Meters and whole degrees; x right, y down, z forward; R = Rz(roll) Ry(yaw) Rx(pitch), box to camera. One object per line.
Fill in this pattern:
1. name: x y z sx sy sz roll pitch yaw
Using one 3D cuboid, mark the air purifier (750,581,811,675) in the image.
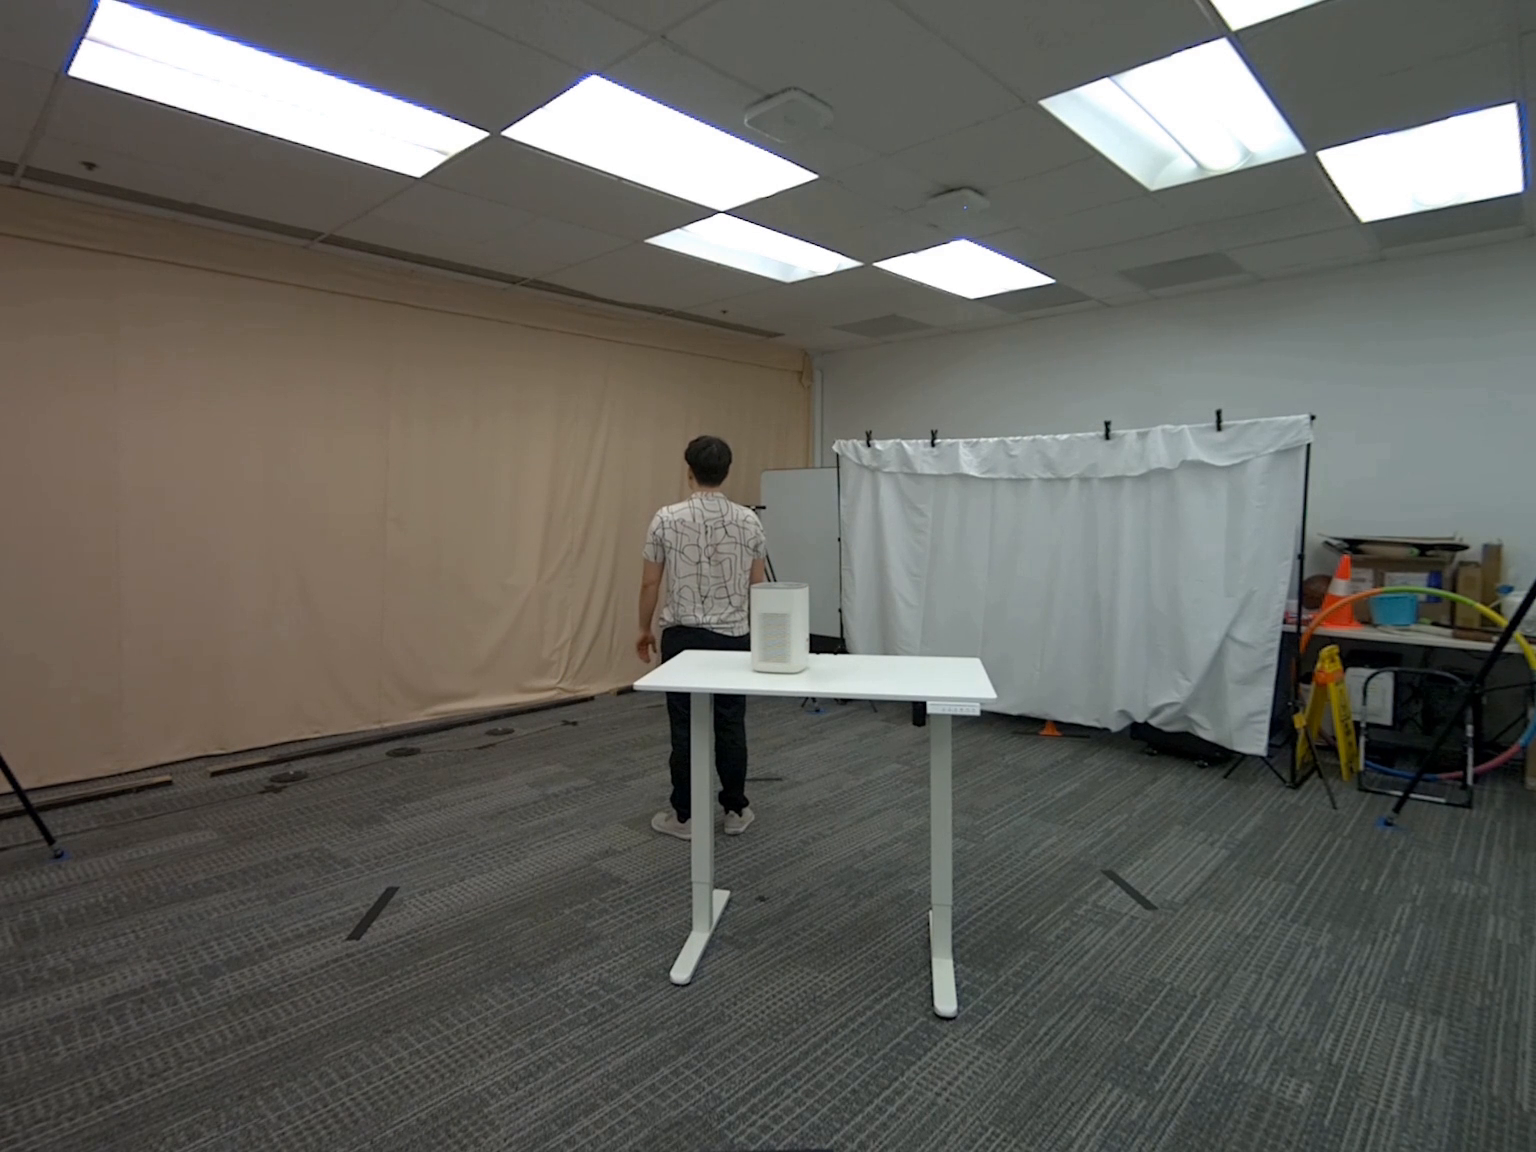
1. air purifier: 0.052 0.161 2.610 0.173 0.265 0.170 0 3 8
